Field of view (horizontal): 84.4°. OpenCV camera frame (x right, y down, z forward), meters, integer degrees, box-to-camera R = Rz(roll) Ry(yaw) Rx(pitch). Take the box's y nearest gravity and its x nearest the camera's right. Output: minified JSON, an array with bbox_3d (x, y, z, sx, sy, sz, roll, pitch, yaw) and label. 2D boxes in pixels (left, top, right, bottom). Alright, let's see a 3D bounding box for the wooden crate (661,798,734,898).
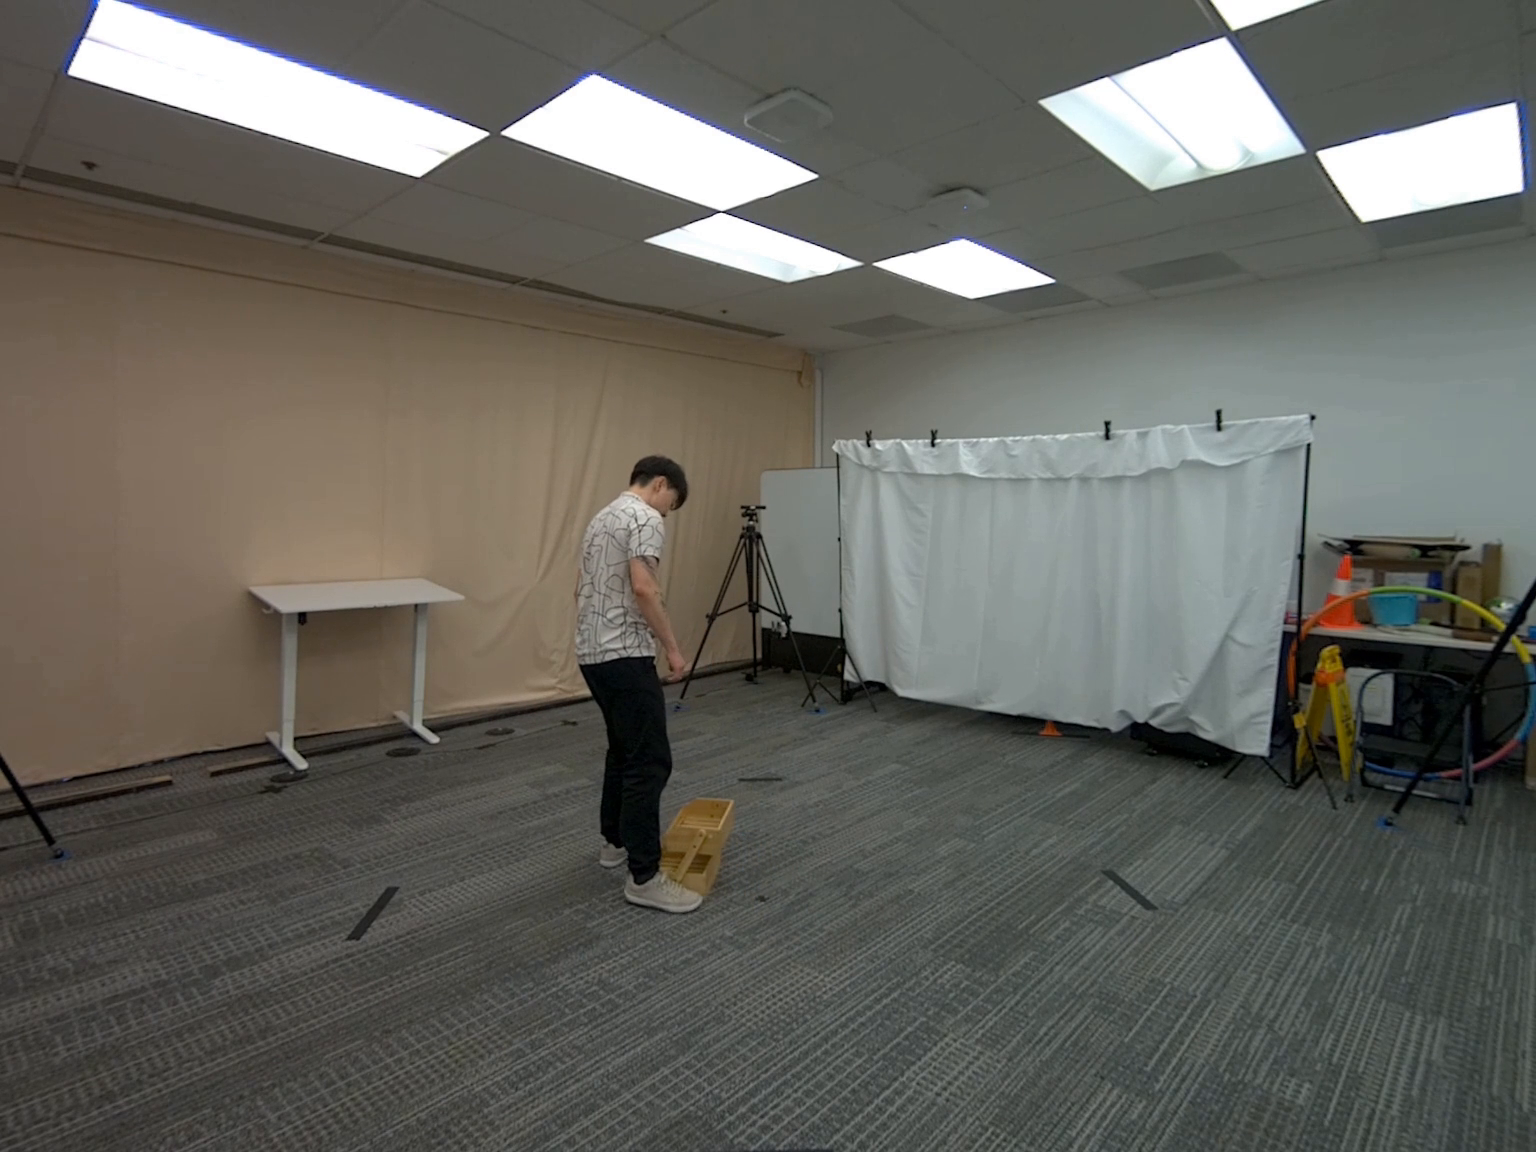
[{"bbox_3d":[-0.300,1.003,3.131,0.306,0.273,0.321,0,4,10],"label":"wooden crate"}]
